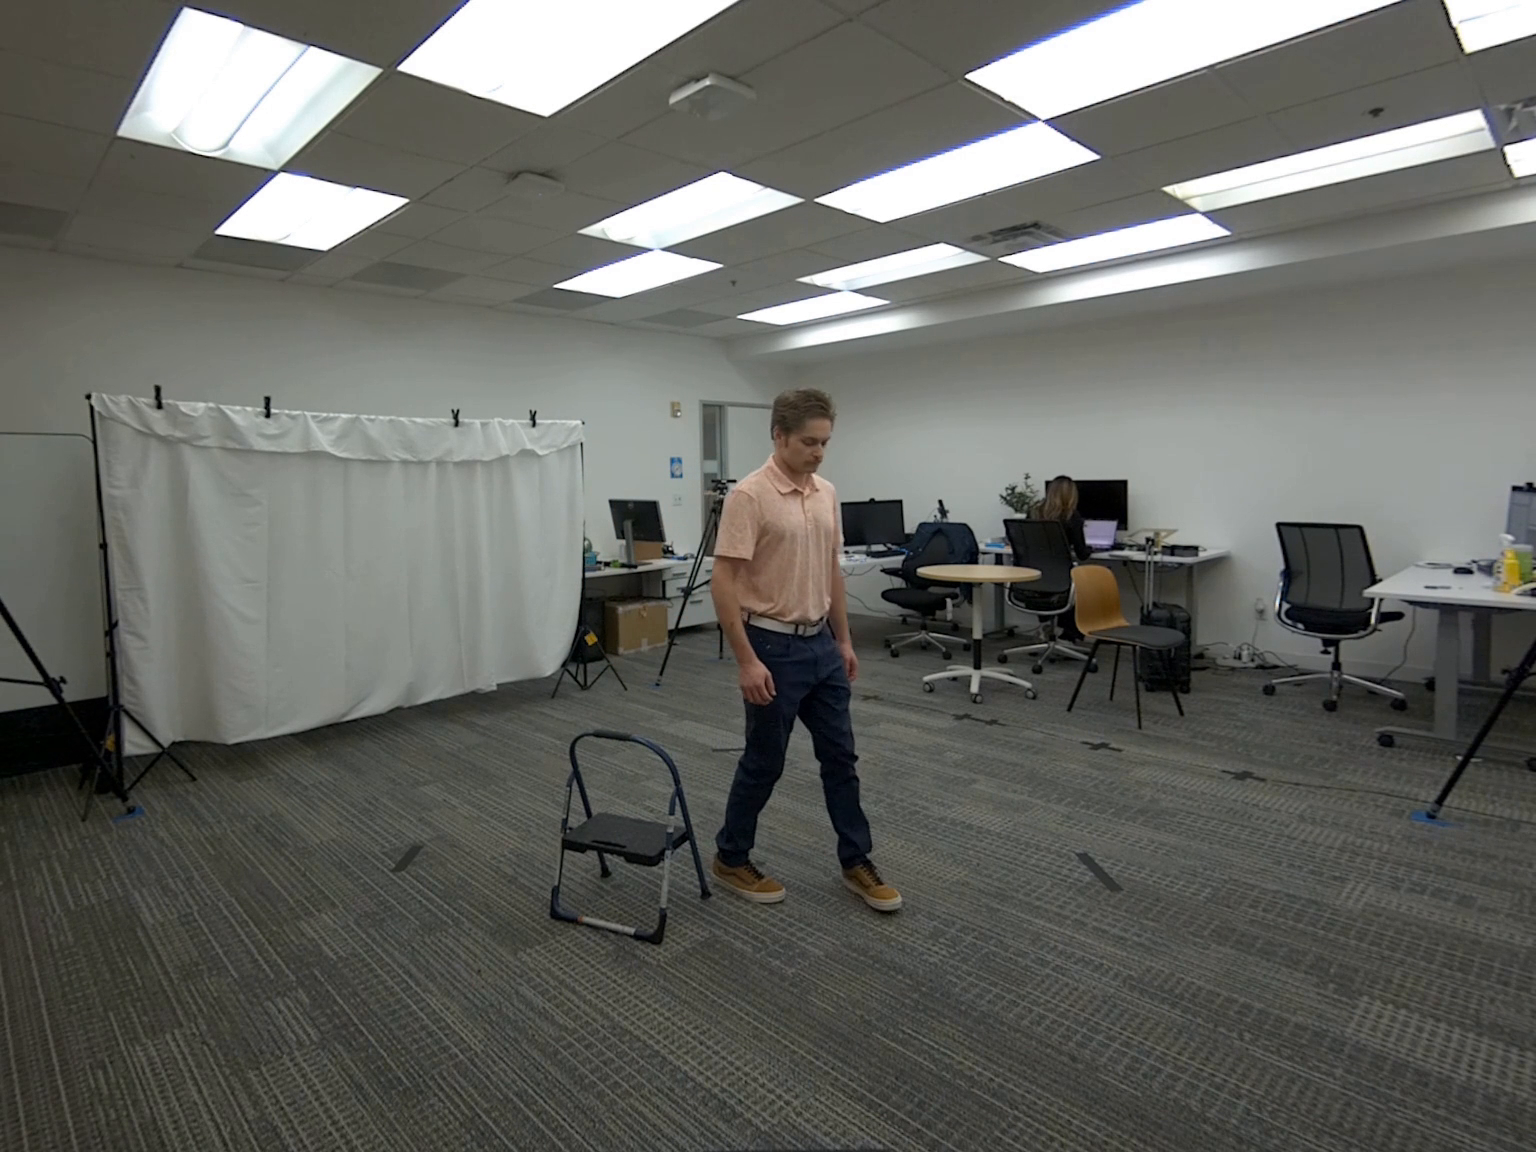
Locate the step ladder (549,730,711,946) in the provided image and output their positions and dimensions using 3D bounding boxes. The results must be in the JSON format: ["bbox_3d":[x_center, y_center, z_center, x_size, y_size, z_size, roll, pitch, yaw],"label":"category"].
[{"bbox_3d":[-0.456,0.790,2.794,0.440,0.604,0.343,0,5,24],"label":"step ladder"}]
